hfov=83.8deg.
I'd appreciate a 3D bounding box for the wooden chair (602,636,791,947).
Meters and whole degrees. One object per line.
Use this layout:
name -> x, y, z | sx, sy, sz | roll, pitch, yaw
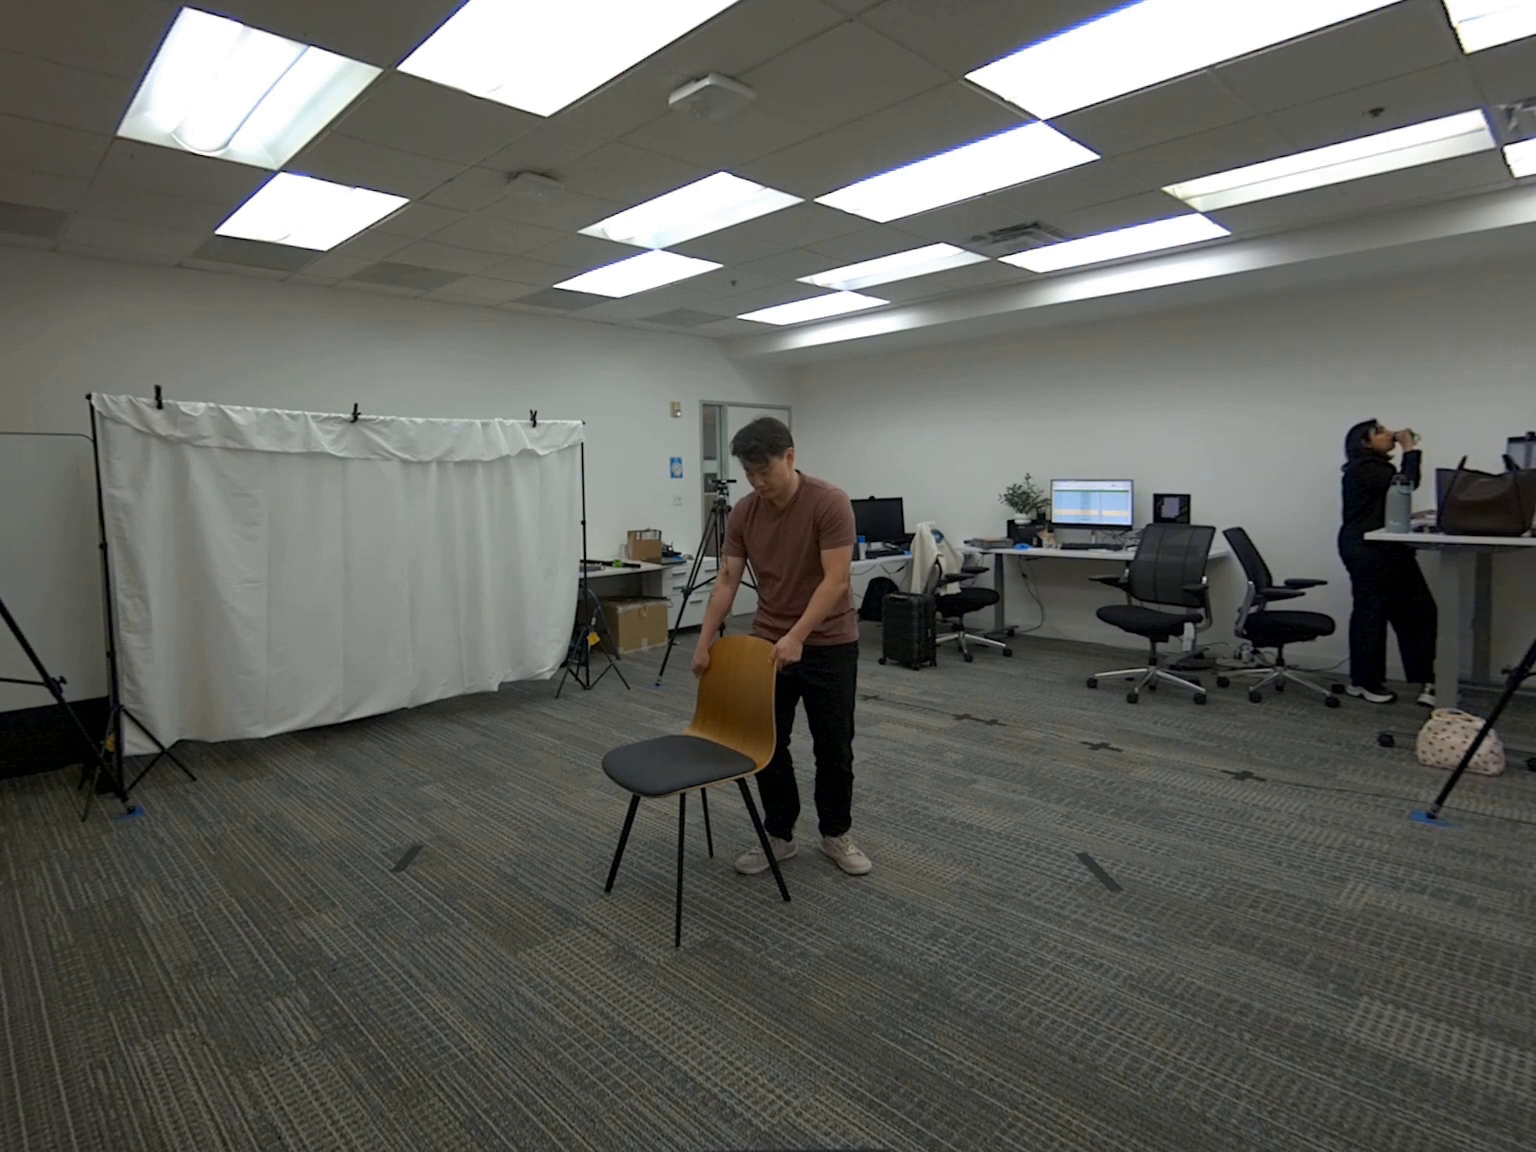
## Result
wooden chair -> -0.254, 0.656, 2.828 | 0.508, 0.876, 0.492 | 1, 2, -38
